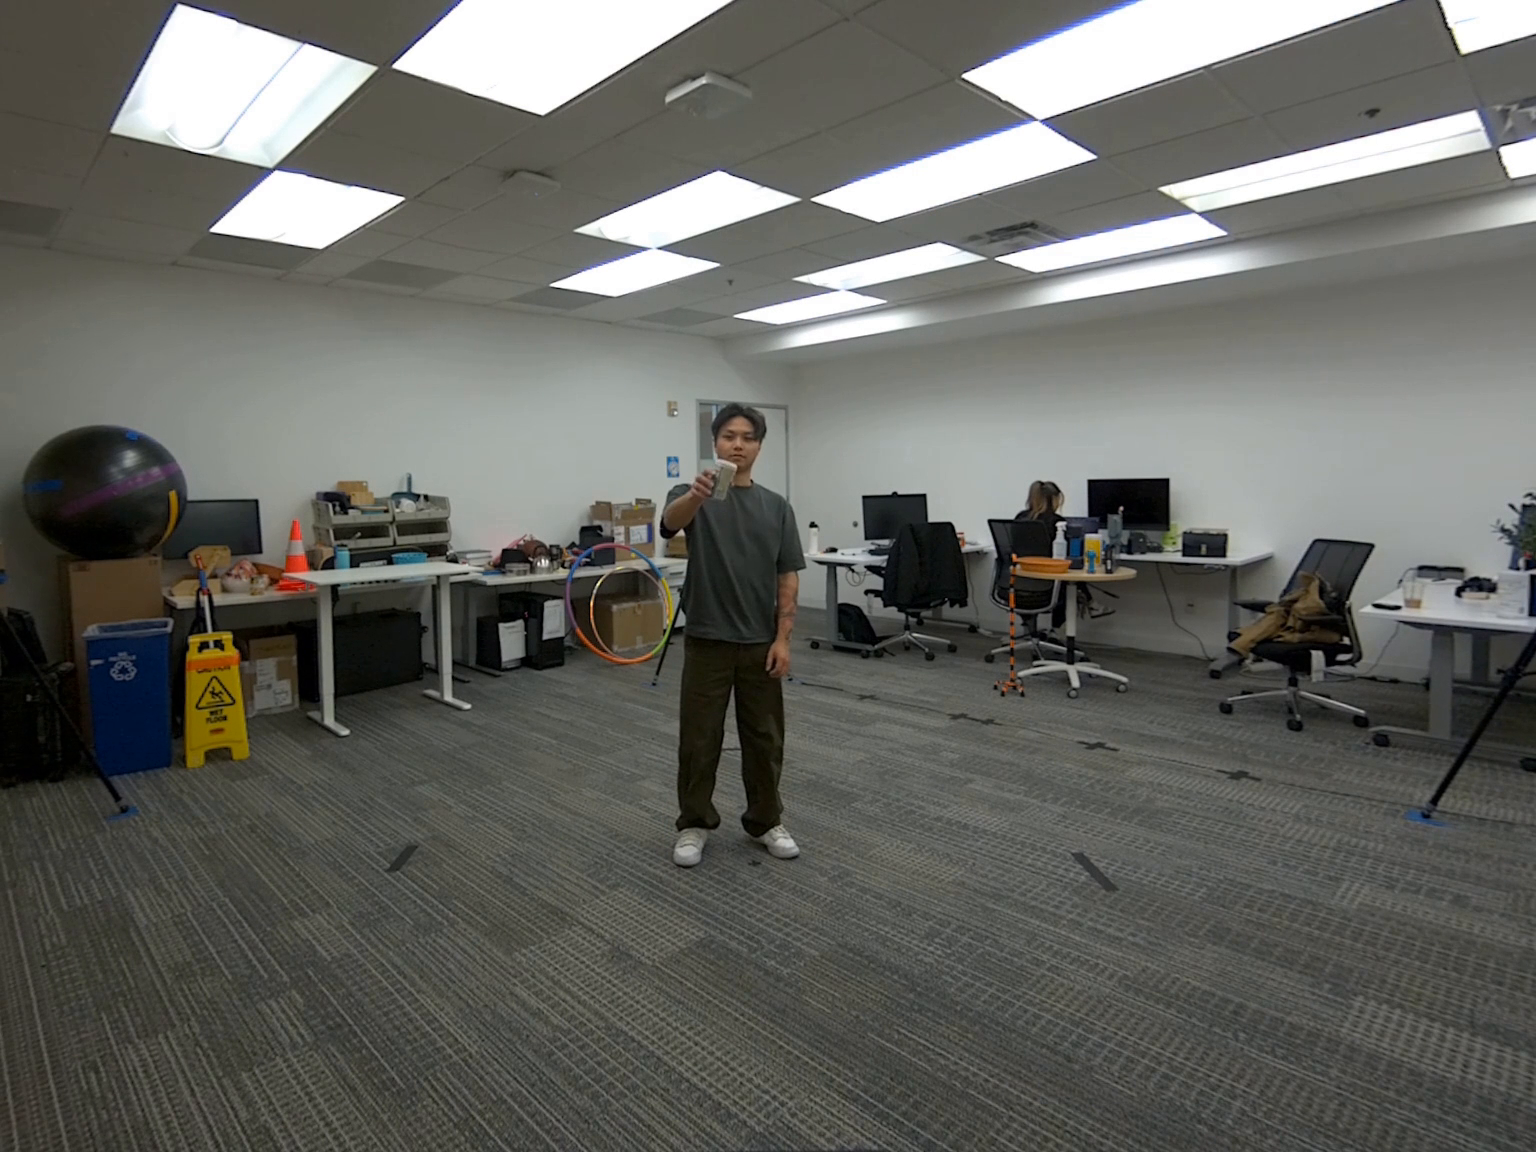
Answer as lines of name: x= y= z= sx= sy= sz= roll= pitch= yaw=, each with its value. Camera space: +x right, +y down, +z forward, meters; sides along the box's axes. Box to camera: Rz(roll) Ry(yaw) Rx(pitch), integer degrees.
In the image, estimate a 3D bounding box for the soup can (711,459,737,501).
soup can: x=-0.144 y=-0.271 z=2.602 sx=0.067 sy=0.121 sz=0.068 roll=9 pitch=9 yaw=-3
